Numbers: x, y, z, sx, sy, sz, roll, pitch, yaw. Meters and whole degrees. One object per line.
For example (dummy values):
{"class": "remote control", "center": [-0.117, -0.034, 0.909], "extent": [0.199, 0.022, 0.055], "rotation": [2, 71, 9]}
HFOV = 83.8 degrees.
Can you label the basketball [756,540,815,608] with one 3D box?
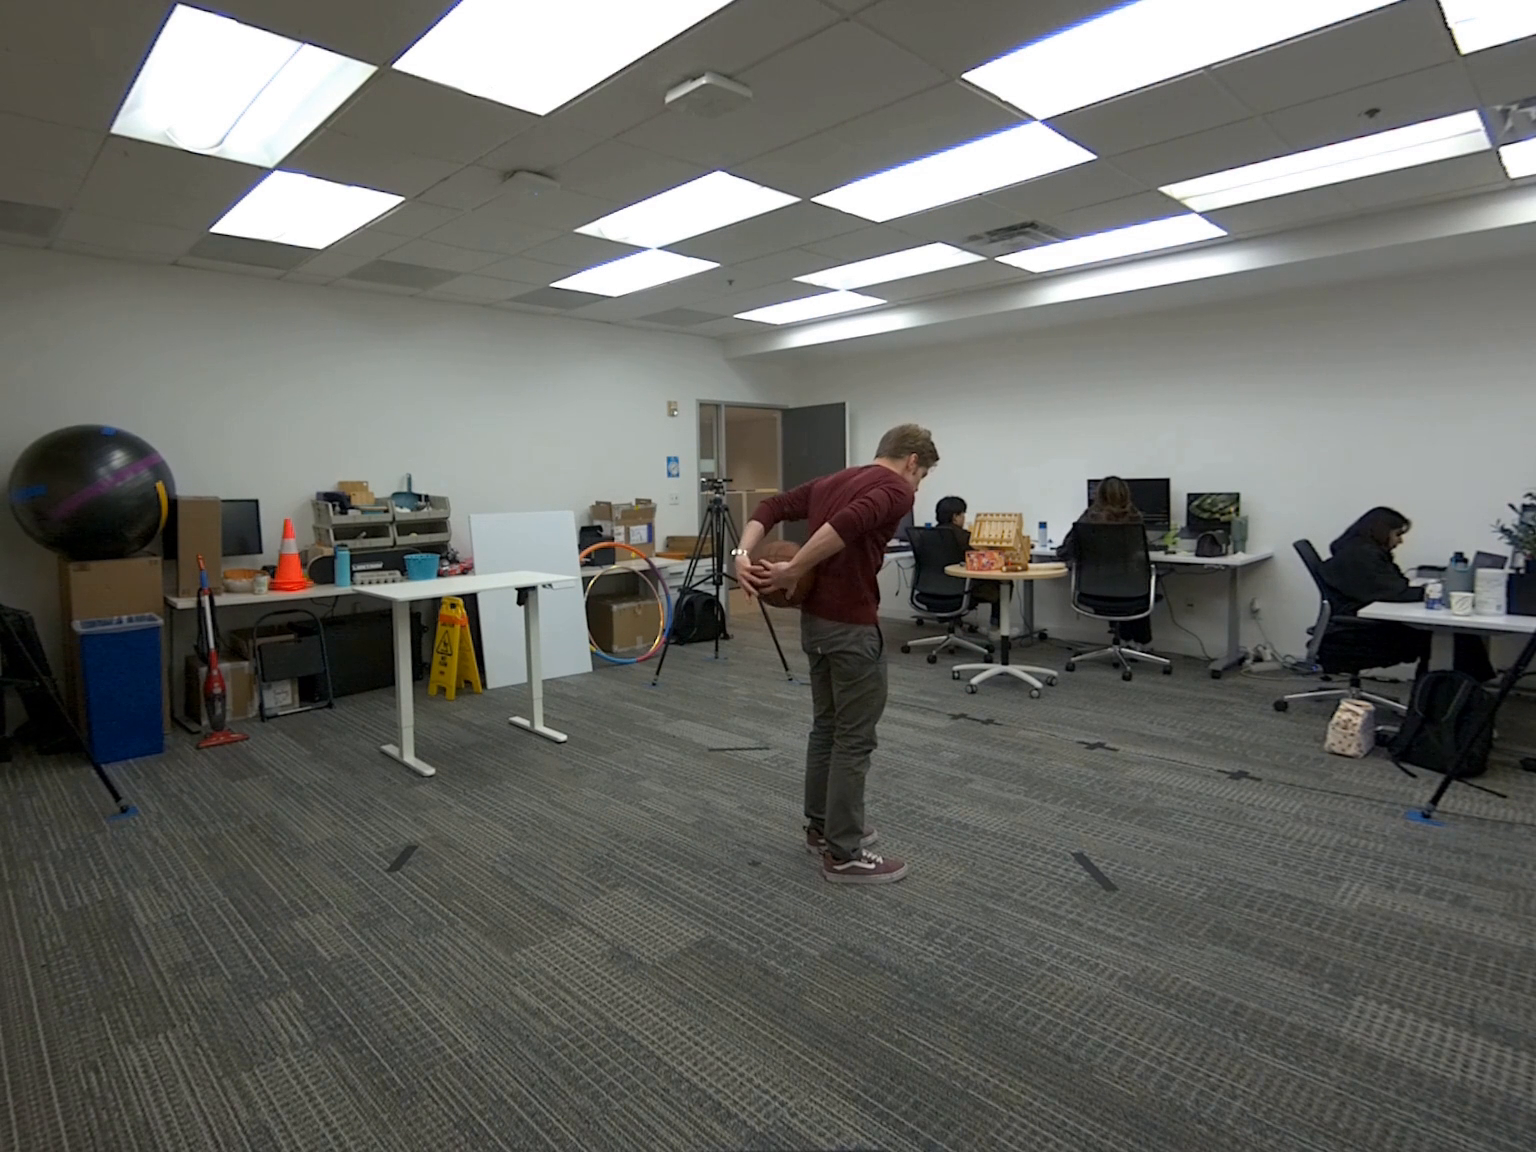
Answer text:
{"class": "basketball", "center": [0.070, -0.011, 3.020], "extent": [0.236, 0.235, 0.237], "rotation": [-1, 5, -2]}
